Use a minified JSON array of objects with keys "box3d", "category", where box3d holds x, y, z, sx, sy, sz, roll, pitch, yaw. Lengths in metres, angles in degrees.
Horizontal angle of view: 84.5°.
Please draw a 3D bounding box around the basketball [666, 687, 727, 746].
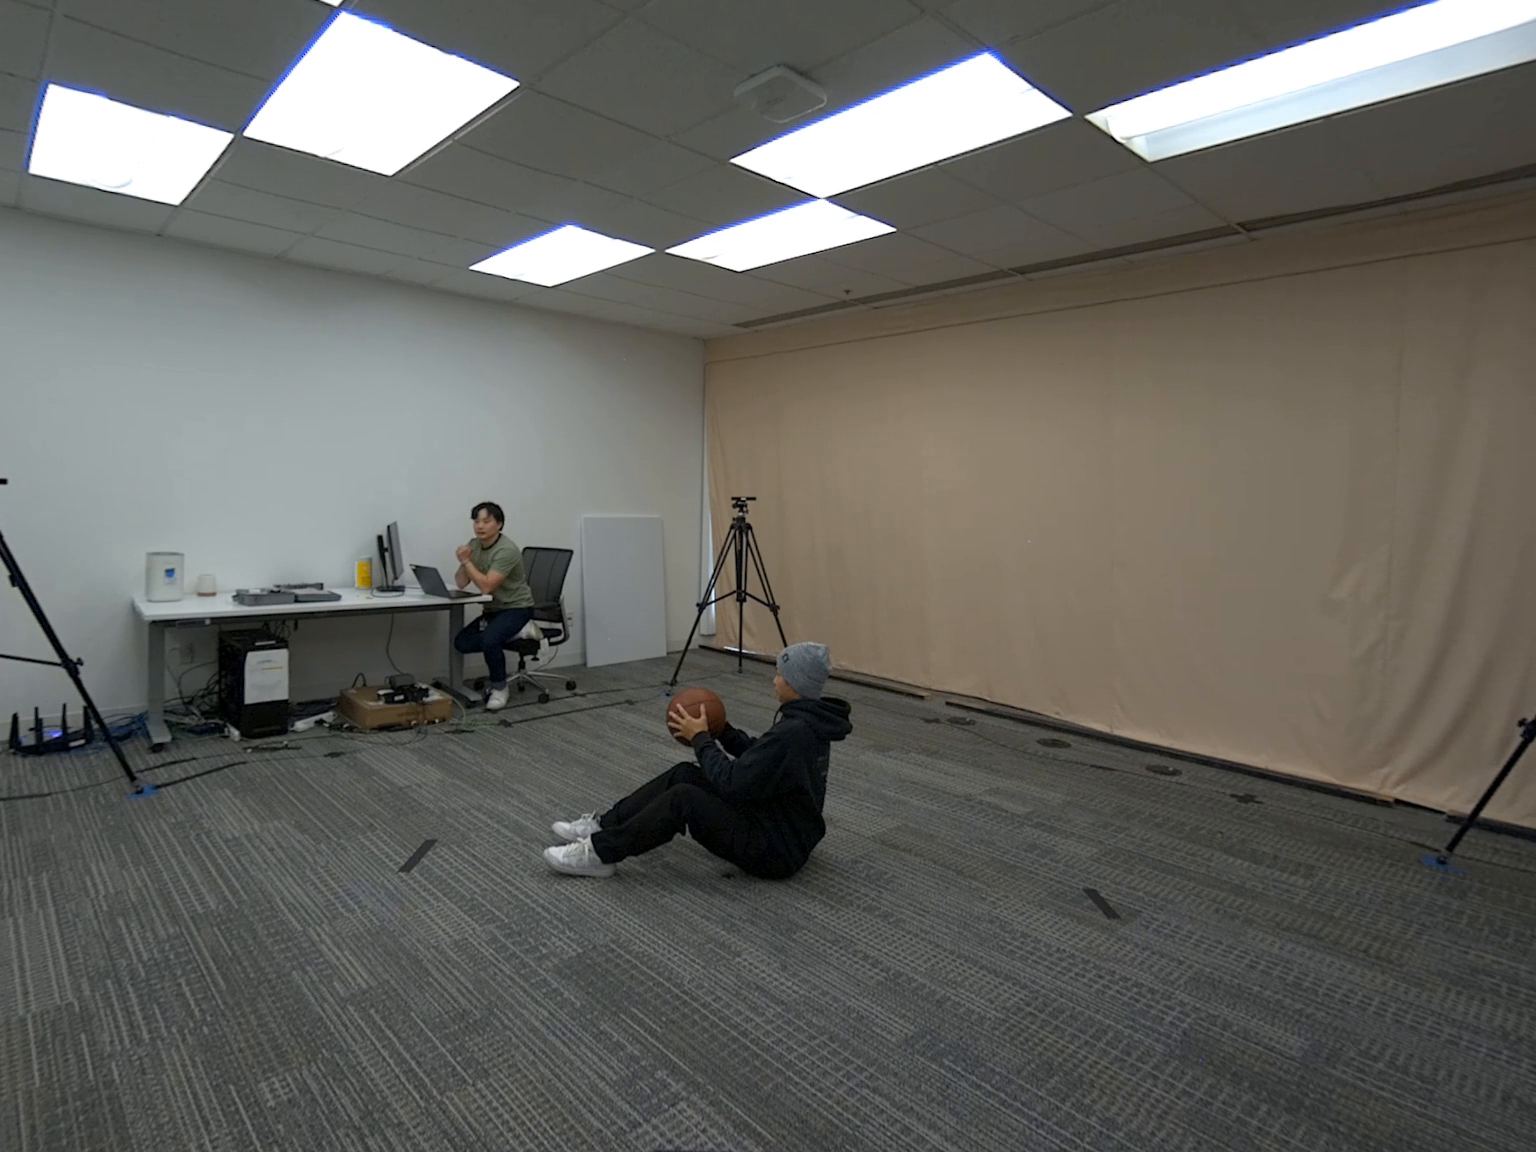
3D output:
[{"box3d":[-0.288,0.560,3.358,0.236,0.235,0.237,1,4,-1],"category":"basketball"}]
